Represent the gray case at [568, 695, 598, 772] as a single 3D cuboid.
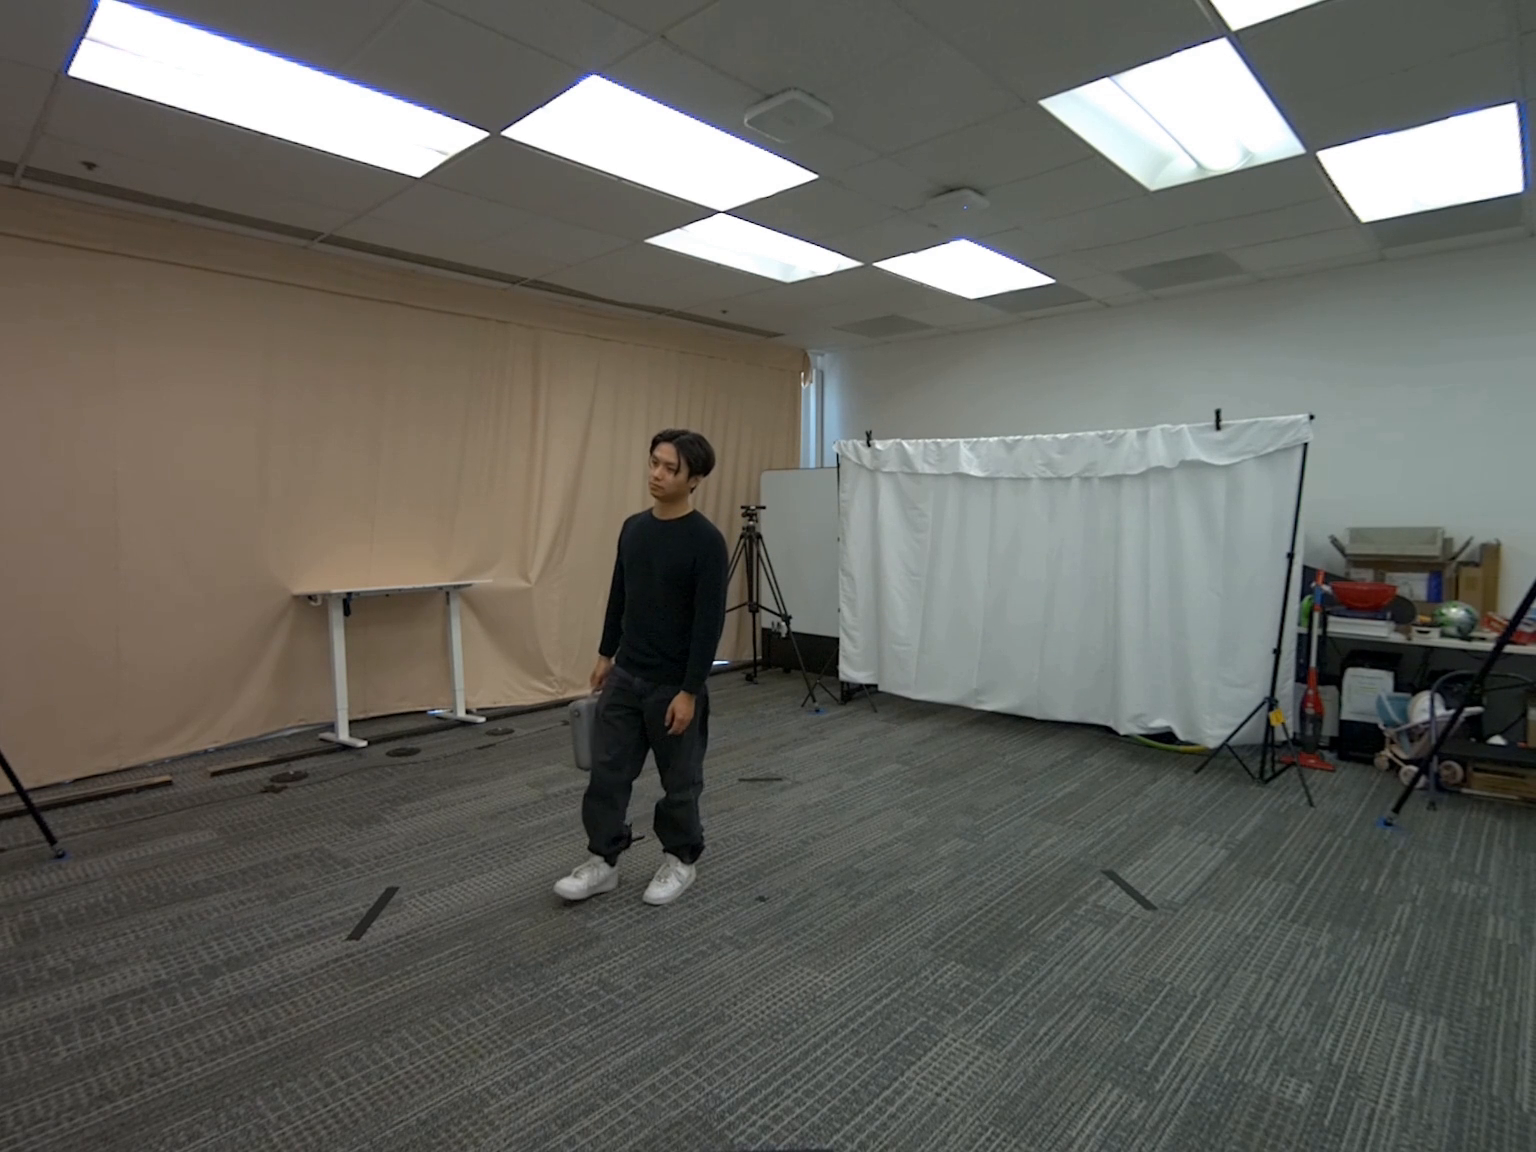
[{"bbox_3d":[-0.607,0.570,3.152,0.107,0.261,0.249,-10,-3,39],"label":"gray case"}]
